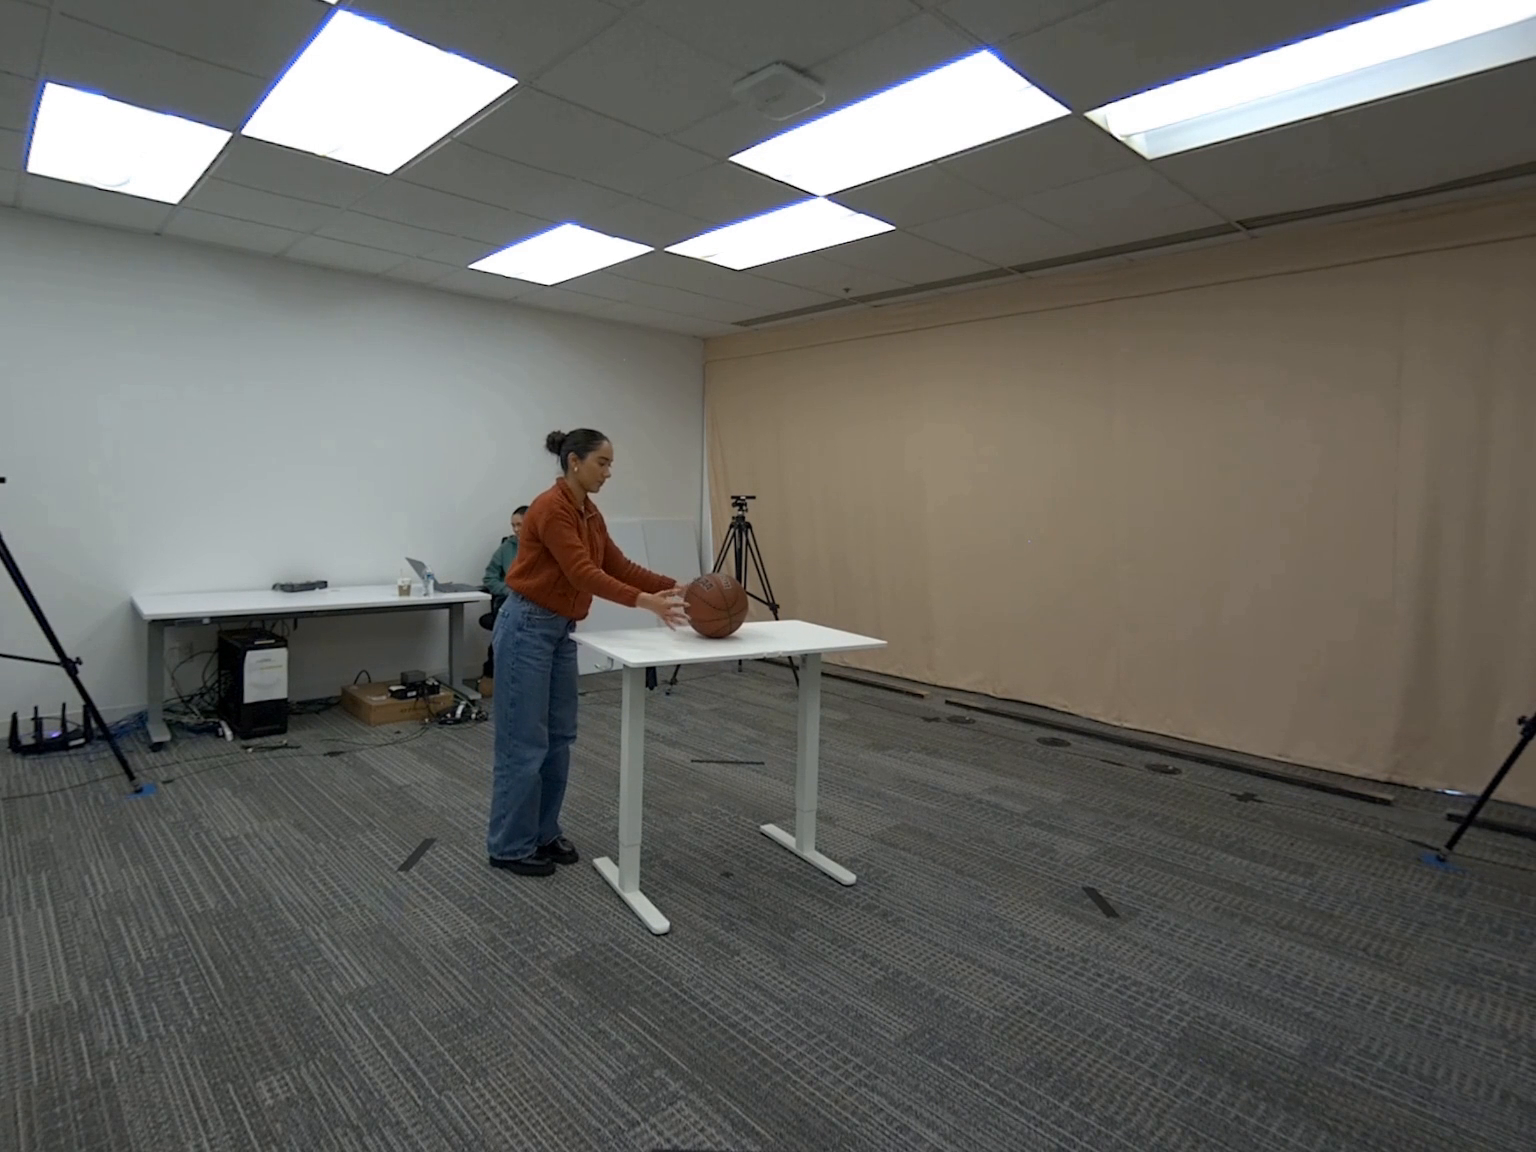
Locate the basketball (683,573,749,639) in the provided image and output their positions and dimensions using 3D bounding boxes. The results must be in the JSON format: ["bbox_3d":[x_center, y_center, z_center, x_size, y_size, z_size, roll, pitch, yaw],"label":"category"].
[{"bbox_3d":[-0.205,0.108,3.056,0.236,0.235,0.237,1,4,-1],"label":"basketball"}]
